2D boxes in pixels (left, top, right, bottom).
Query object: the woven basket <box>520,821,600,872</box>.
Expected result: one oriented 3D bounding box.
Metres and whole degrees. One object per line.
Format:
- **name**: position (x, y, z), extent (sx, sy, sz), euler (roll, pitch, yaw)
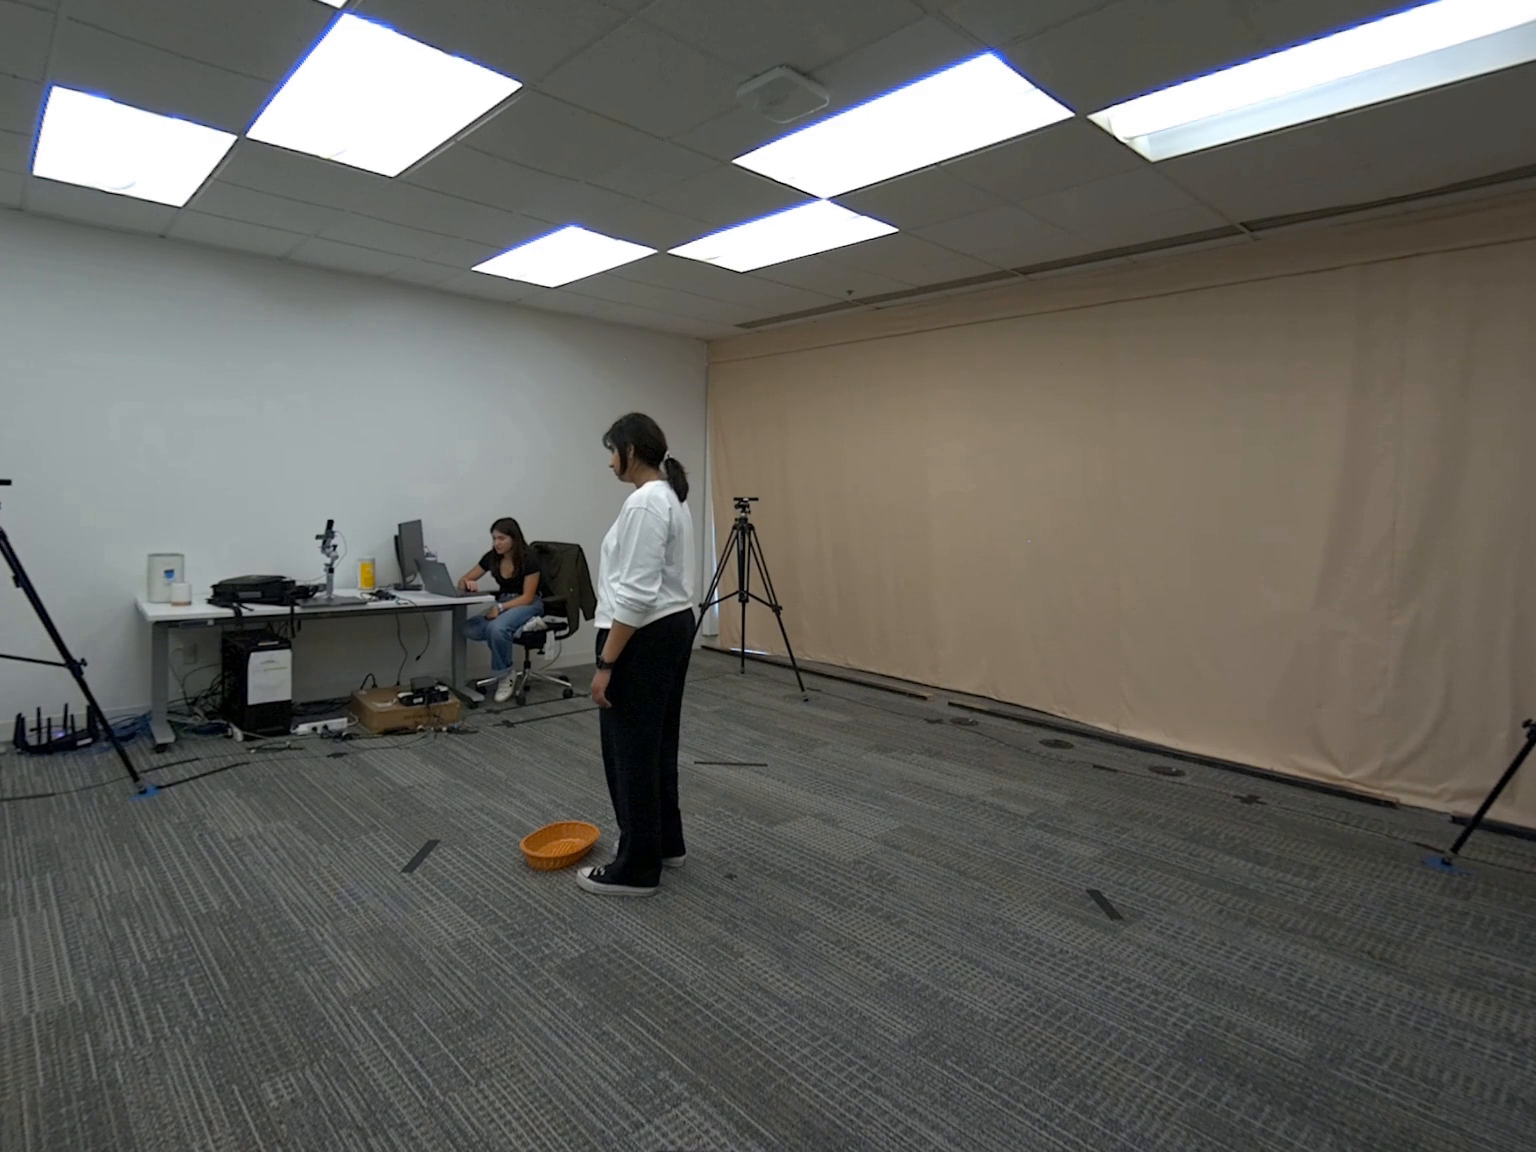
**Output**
- **woven basket**: position (-0.803, 1.040, 3.248), extent (0.257, 0.073, 0.344), euler (4, 5, 26)
